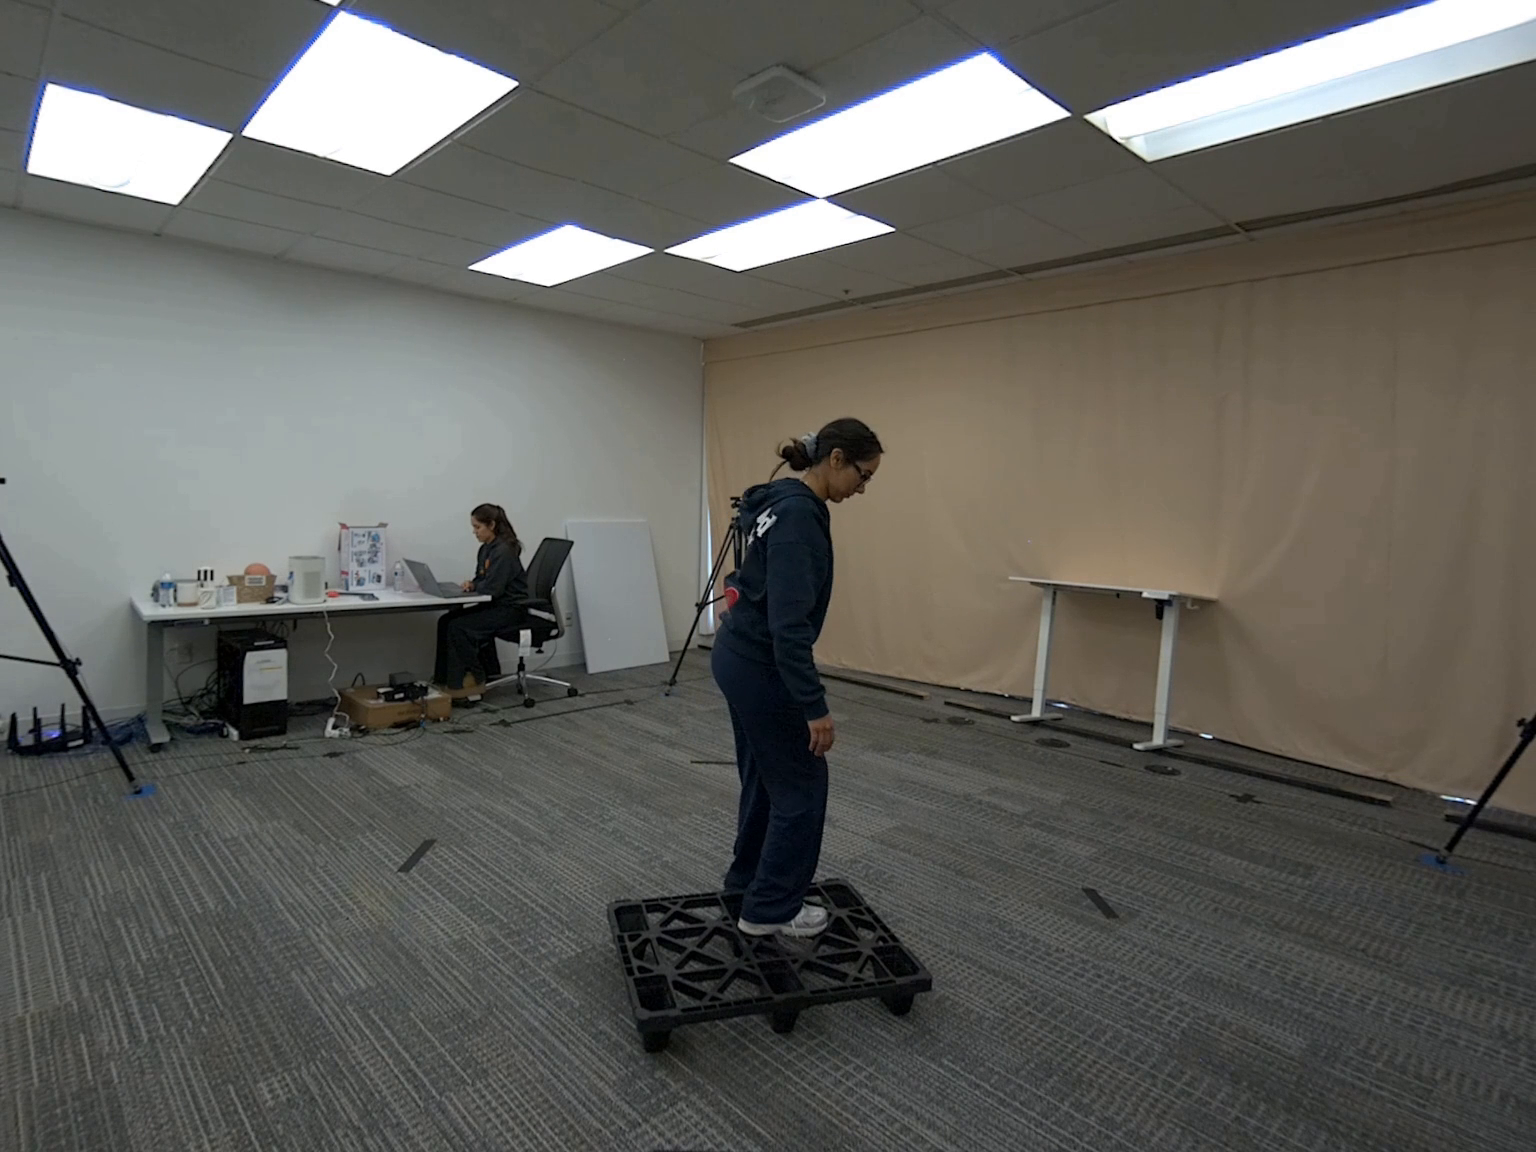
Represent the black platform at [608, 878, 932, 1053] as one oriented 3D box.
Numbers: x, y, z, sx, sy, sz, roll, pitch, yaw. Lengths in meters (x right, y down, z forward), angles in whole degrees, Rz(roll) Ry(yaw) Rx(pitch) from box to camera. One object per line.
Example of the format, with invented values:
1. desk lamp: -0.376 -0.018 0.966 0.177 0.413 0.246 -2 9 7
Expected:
1. black platform: -0.033 1.105 2.420 0.795 0.143 0.614 0 5 -17
